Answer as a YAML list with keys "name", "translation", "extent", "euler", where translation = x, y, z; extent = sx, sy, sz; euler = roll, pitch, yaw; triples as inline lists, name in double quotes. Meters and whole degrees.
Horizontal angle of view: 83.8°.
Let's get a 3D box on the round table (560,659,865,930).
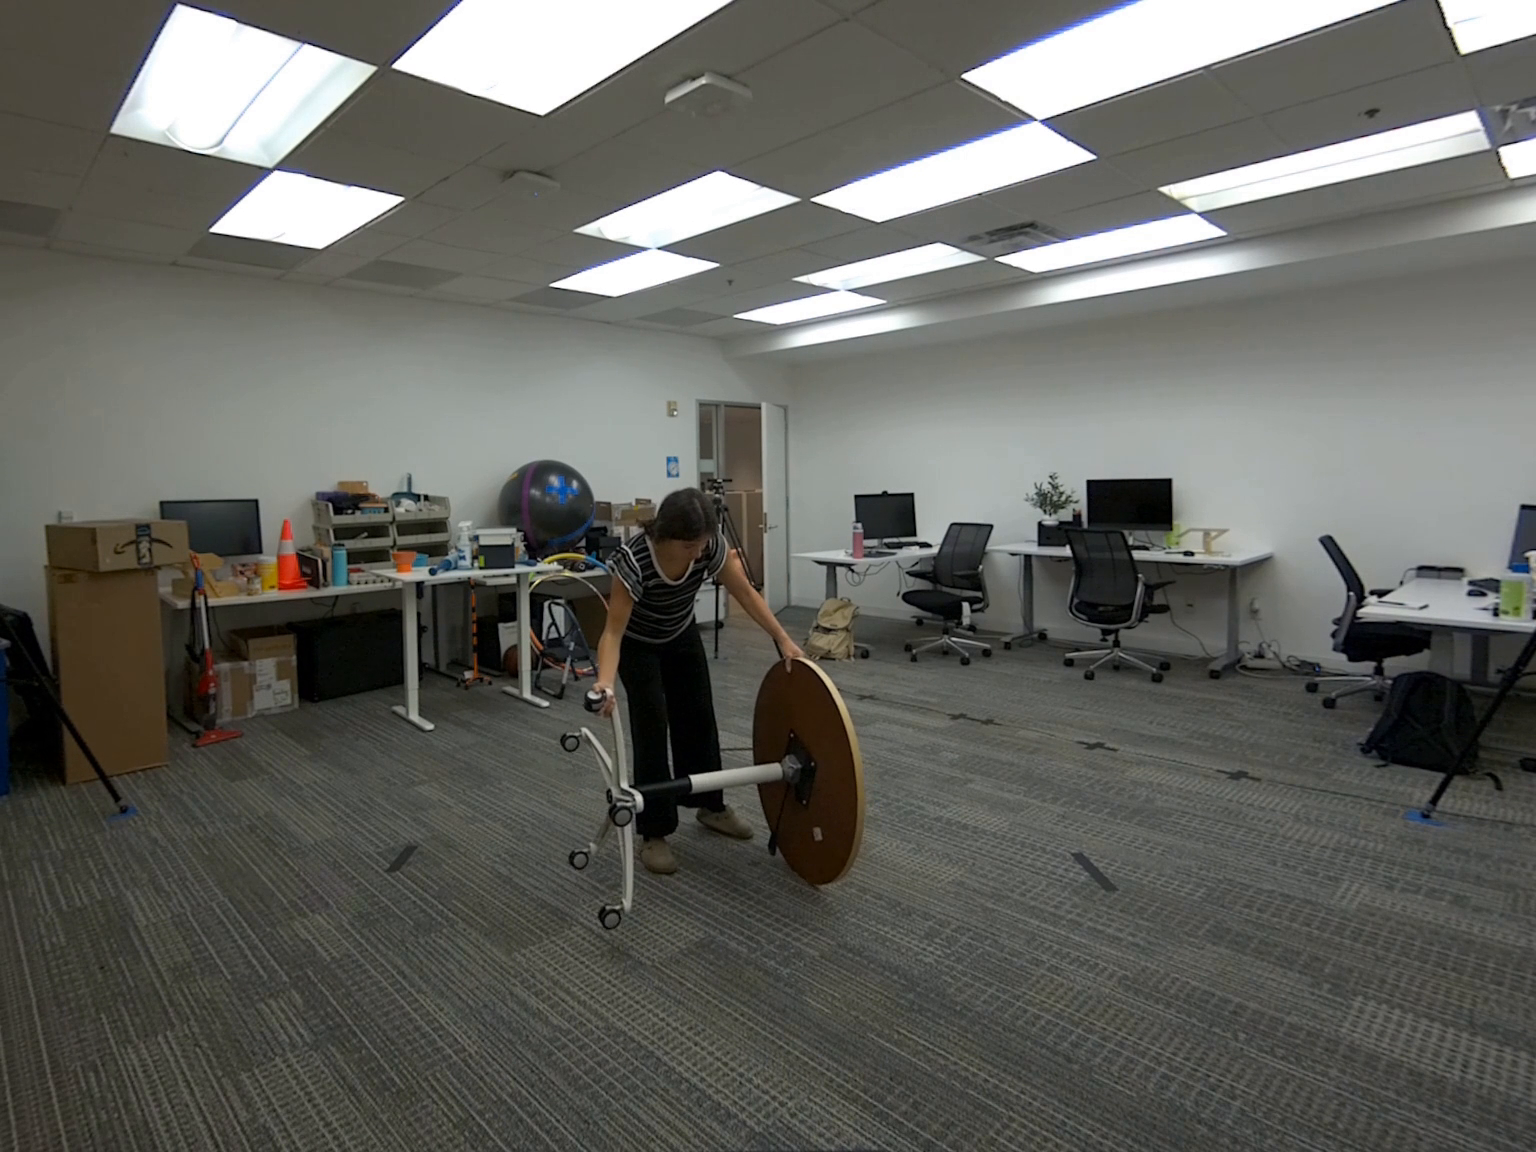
- name: "round table"
  translation: [-0.222, 0.695, 2.829]
  extent: [0.777, 0.761, 0.783]
  euler: [-2, 5, -25]
